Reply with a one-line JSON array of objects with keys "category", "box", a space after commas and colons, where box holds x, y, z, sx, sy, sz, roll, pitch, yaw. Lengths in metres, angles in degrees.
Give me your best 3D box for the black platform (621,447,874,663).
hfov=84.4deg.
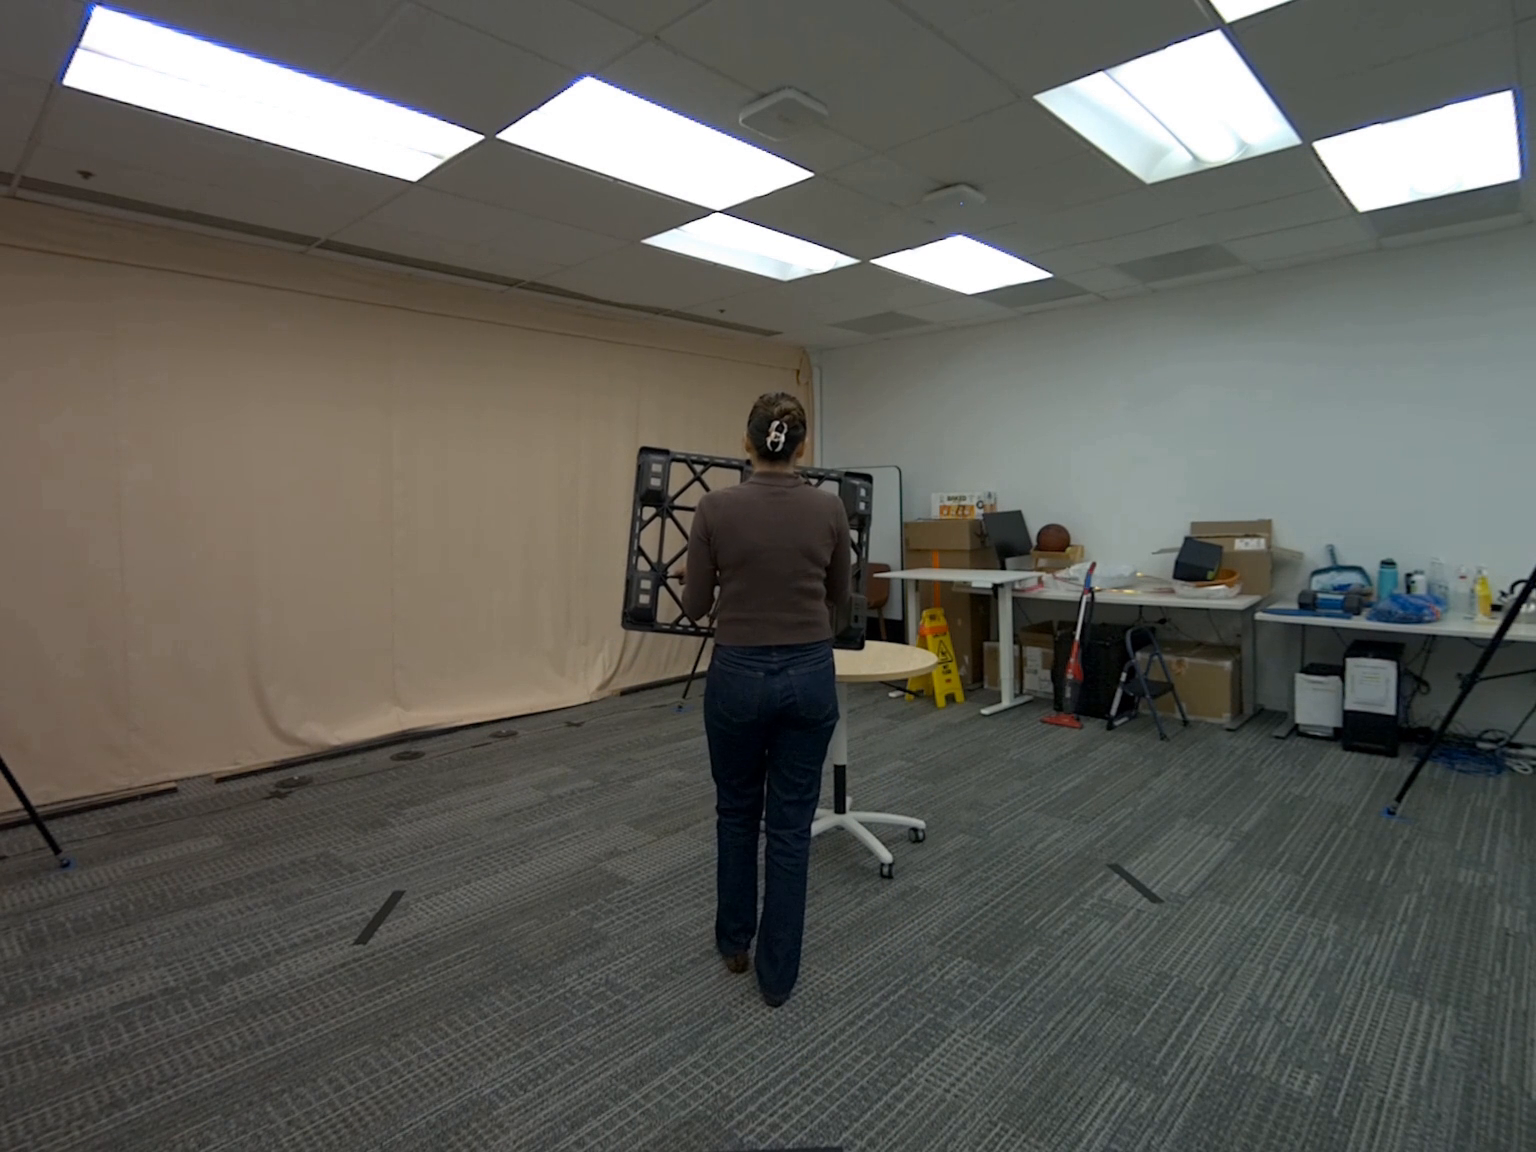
[{"category": "black platform", "box": [-0.051, -0.088, 2.715, 0.798, 0.608, 0.144, 6, -9, -8]}]
